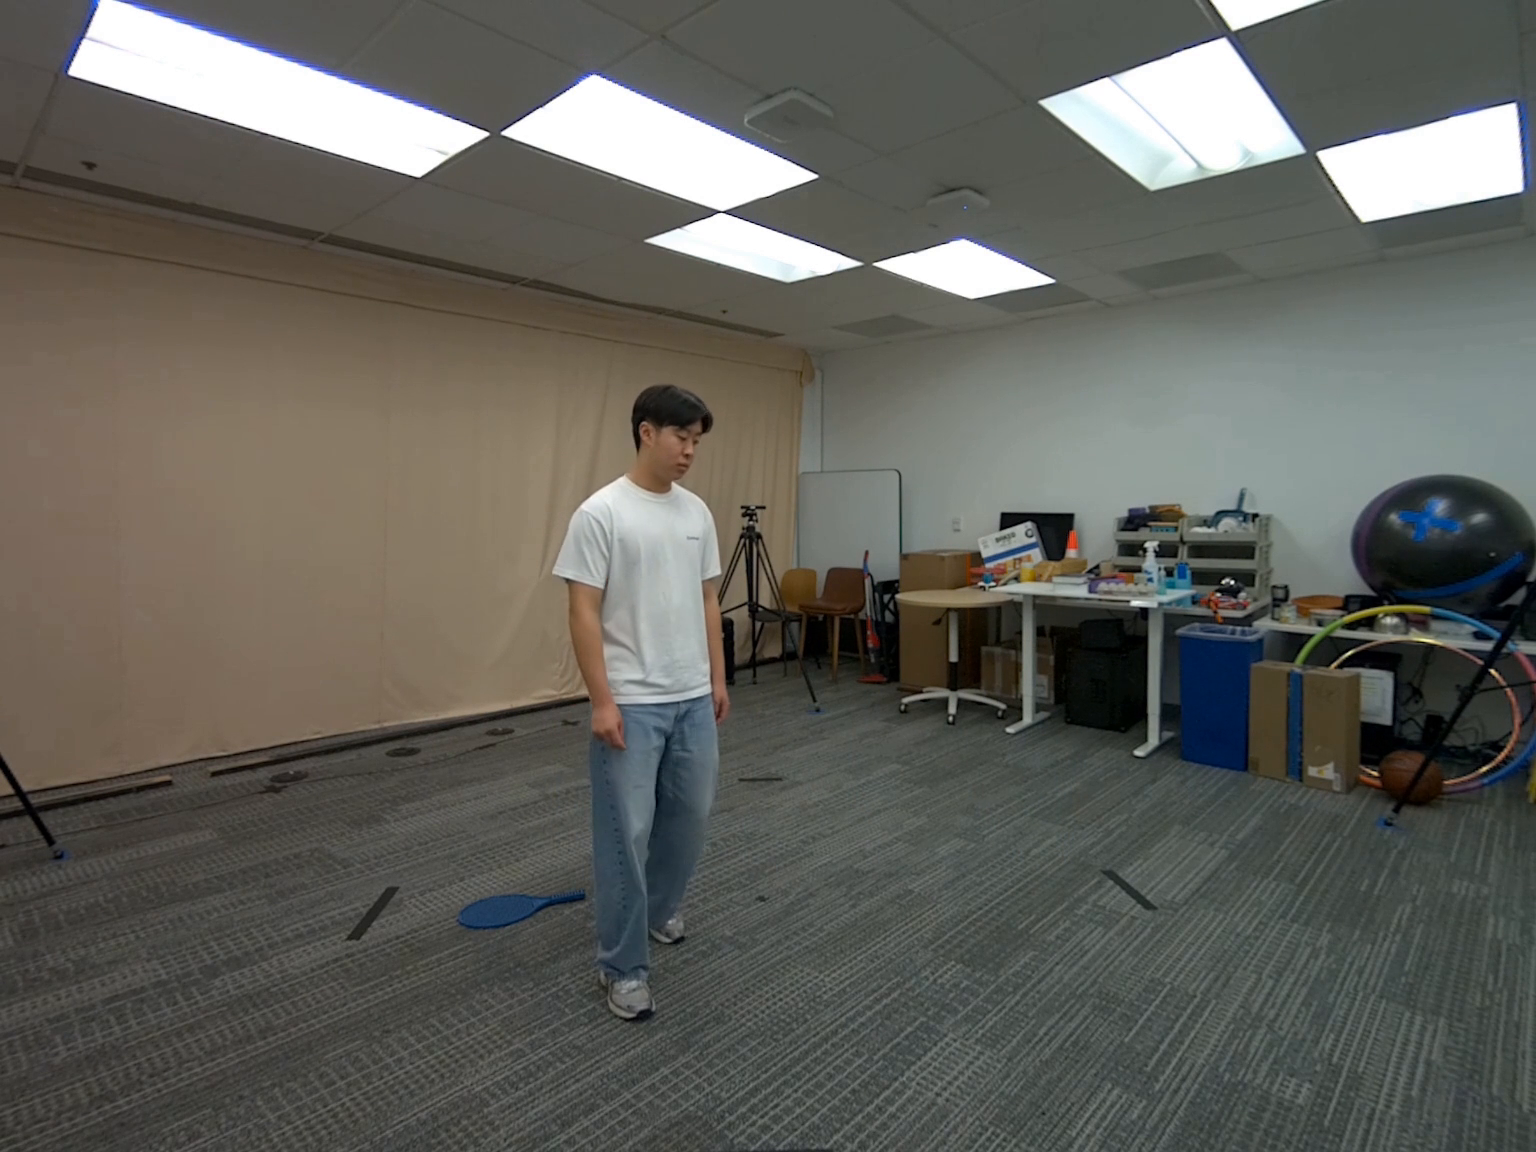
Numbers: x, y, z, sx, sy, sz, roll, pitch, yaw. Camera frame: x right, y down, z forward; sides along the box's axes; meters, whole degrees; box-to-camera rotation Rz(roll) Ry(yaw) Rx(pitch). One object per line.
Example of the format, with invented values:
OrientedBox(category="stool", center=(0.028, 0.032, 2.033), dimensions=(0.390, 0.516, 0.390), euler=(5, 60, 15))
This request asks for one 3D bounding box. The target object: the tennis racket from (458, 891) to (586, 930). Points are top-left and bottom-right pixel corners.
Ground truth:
OrientedBox(category="tennis racket", center=(-0.846, 1.139, 2.914), dimensions=(0.425, 0.032, 0.218), euler=(-4, 5, -19))
